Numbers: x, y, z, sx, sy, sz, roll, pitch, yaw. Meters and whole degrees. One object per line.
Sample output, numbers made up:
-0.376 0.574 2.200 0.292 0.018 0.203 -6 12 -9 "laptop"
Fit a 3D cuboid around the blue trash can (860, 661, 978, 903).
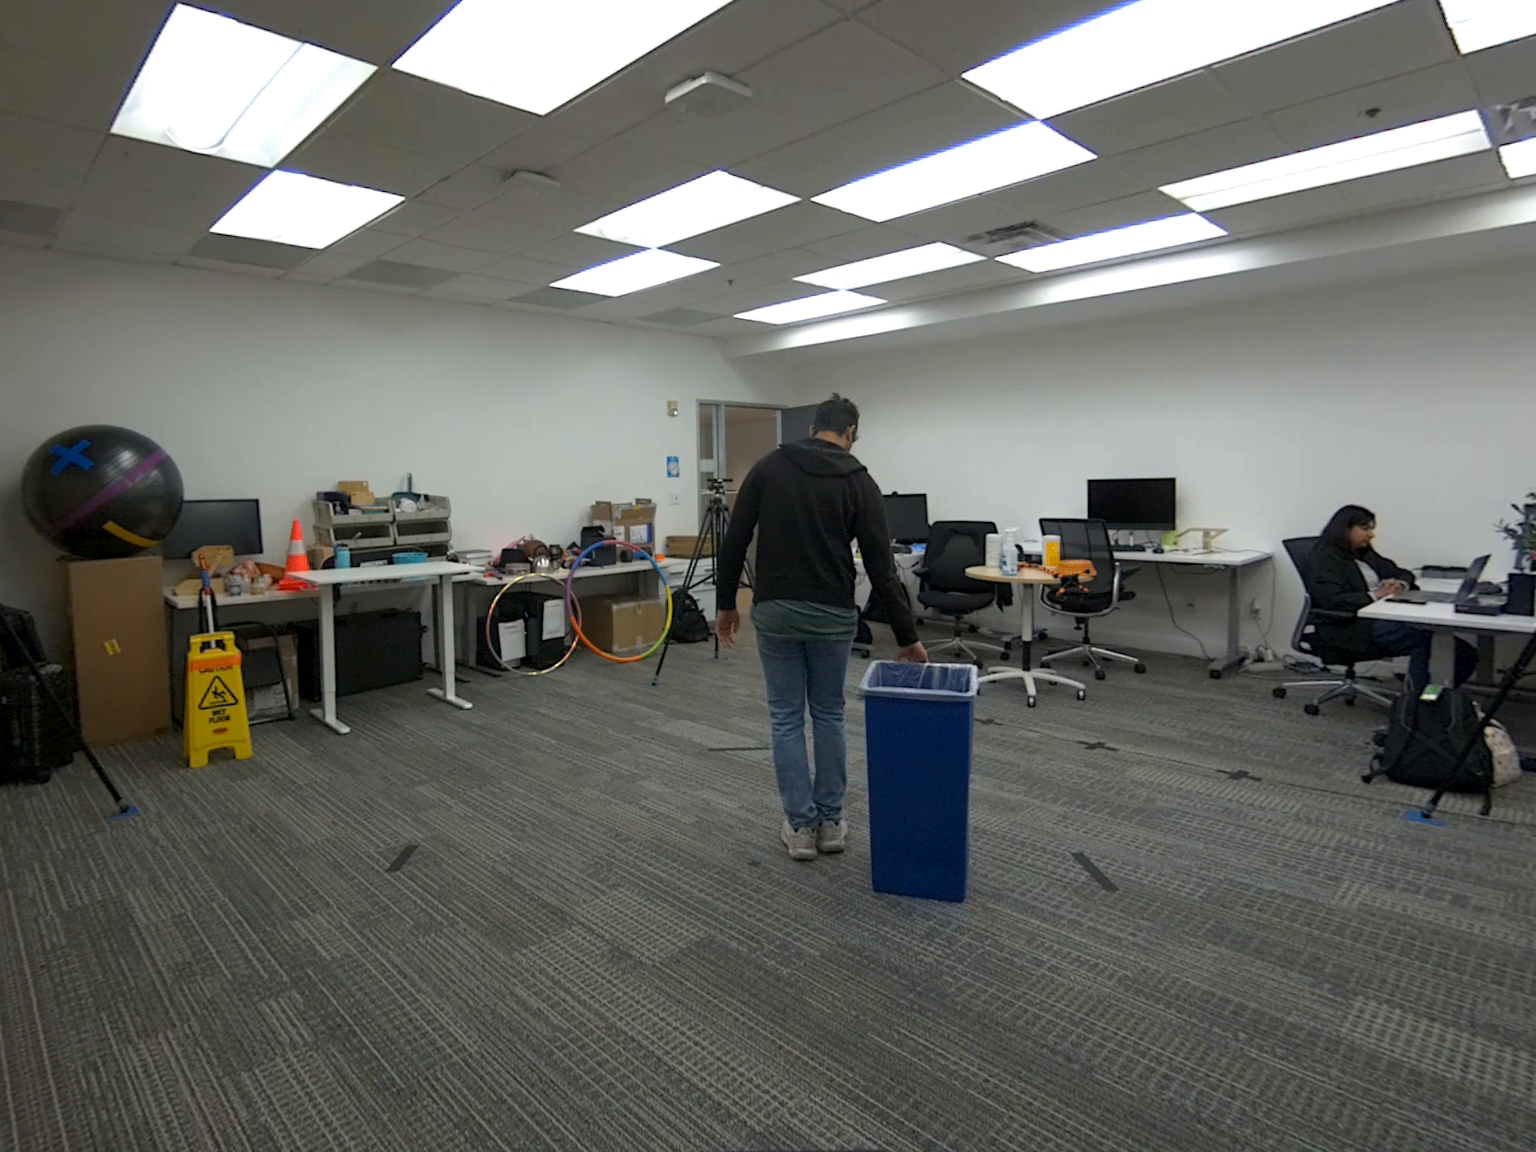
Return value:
0.517 0.692 2.935 0.380 0.710 0.374 1 6 16 "blue trash can"
